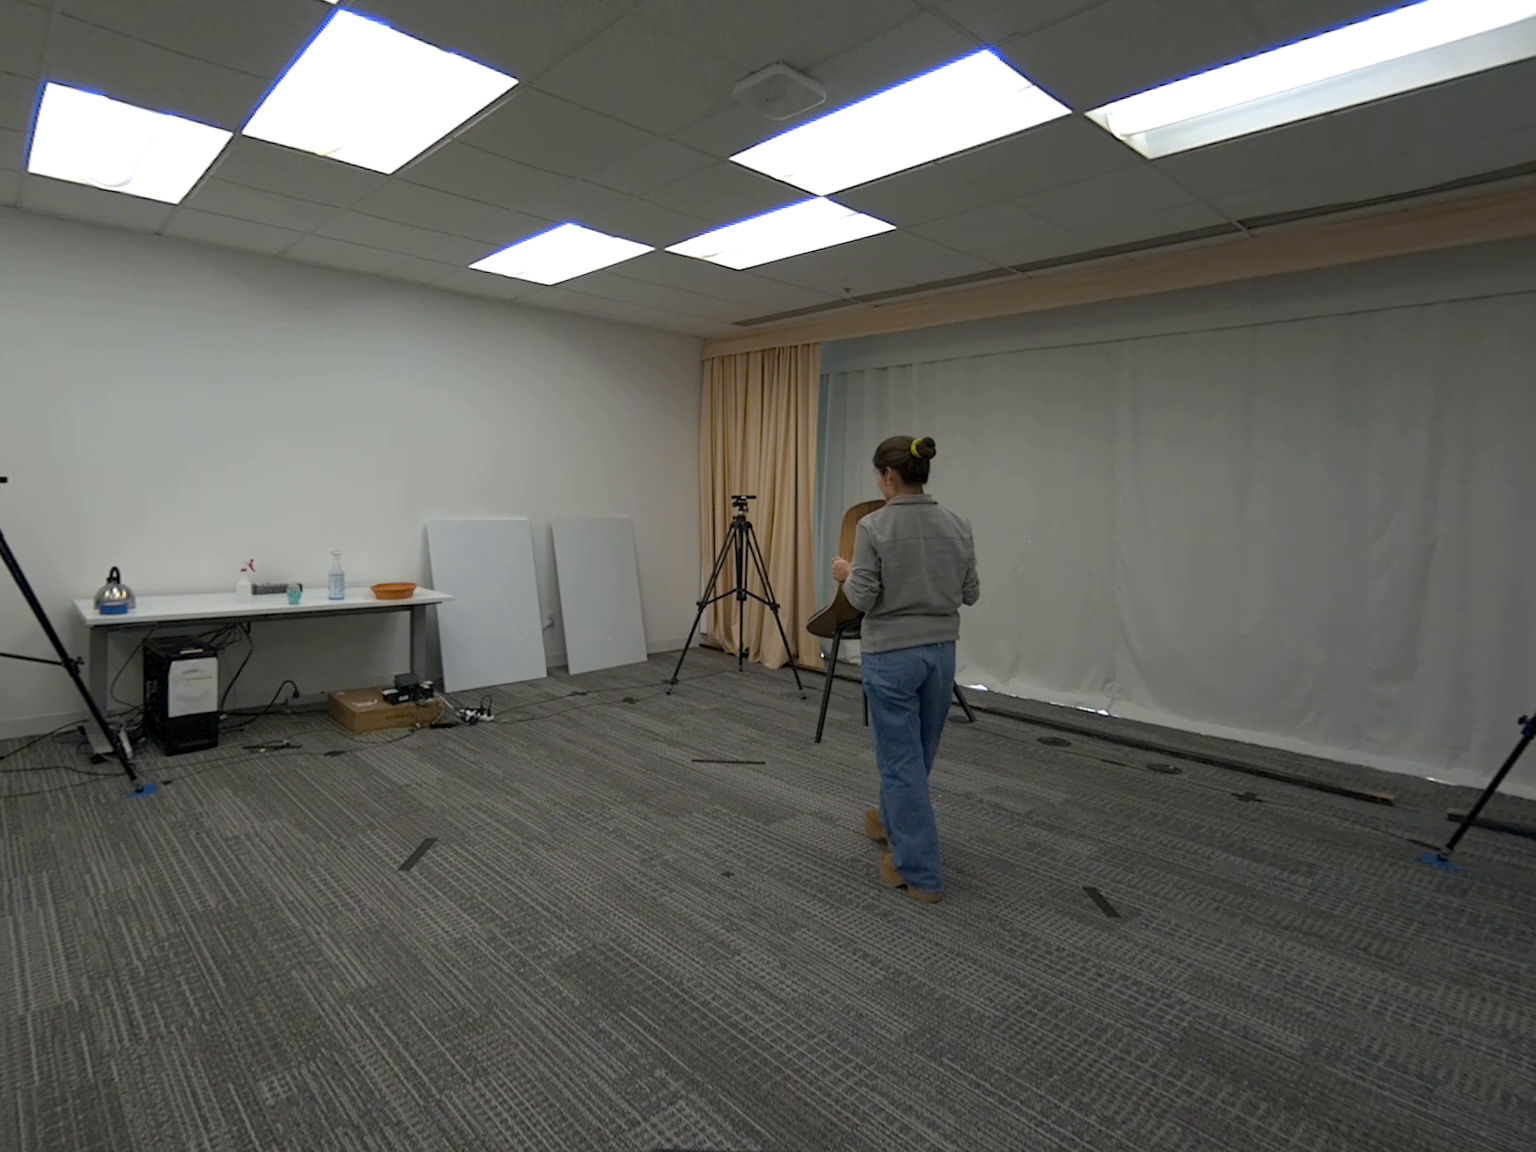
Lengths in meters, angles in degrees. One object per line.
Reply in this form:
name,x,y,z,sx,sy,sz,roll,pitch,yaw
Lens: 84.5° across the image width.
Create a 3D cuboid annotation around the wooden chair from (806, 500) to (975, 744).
wooden chair,0.416,0.197,3.327,0.471,0.887,0.525,2,-15,-19
